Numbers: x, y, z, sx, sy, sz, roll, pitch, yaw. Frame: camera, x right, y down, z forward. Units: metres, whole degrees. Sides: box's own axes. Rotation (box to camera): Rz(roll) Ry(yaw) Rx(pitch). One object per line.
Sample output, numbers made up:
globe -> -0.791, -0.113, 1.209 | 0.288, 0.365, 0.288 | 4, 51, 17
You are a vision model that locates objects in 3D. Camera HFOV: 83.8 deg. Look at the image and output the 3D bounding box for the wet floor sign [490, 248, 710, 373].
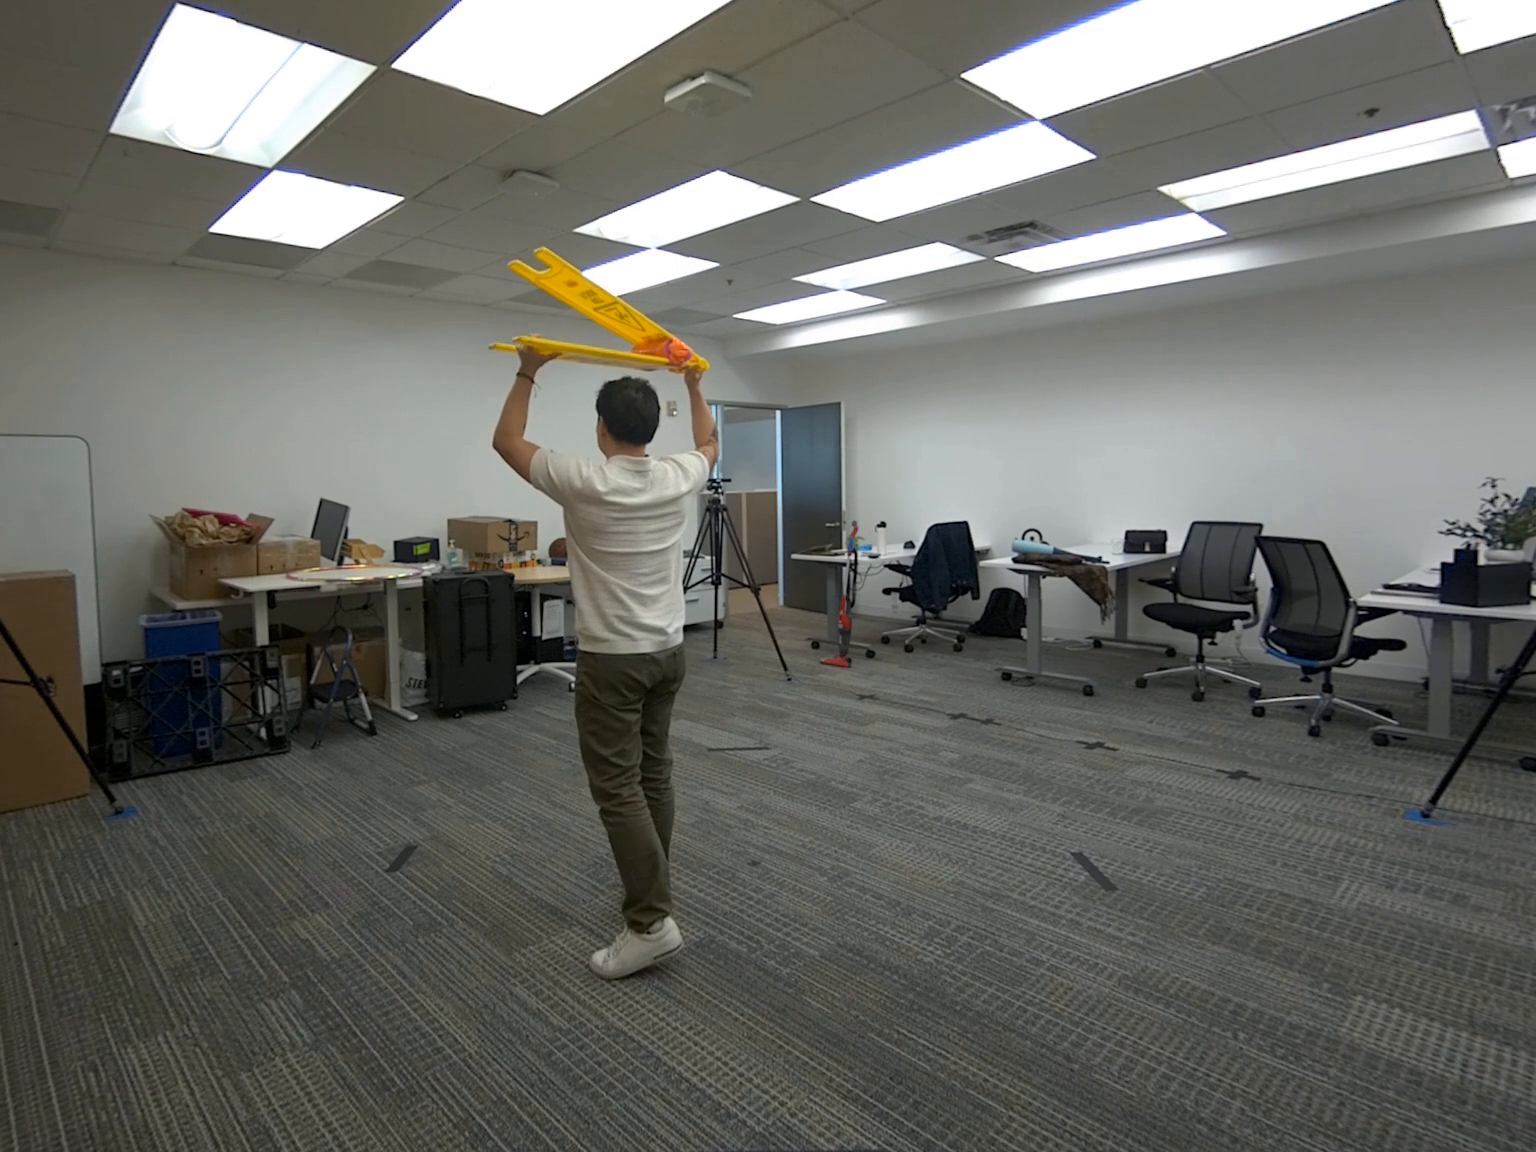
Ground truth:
wet floor sign -> -0.485, -0.742, 2.668 | 0.625, 0.290, 0.291 | 13, -2, -35
